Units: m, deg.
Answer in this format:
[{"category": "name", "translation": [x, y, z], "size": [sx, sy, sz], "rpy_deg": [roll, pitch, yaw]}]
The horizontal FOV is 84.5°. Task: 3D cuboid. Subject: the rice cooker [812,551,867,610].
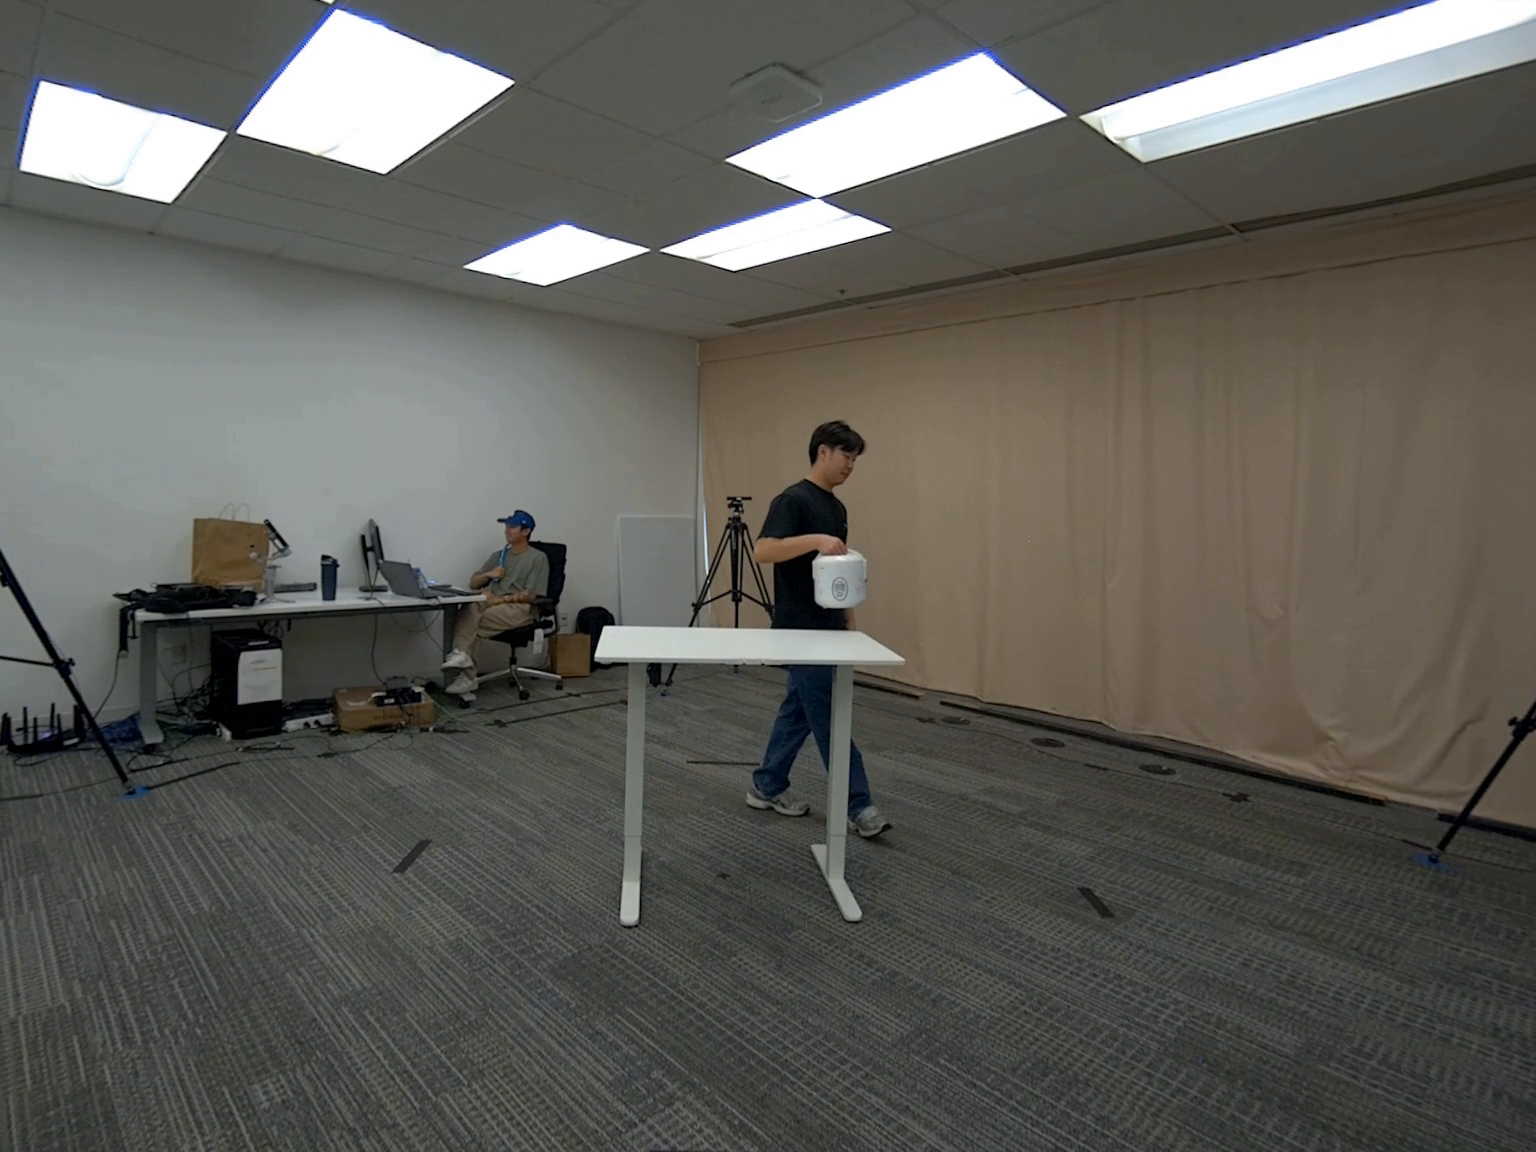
[{"category": "rice cooker", "translation": [0.282, 0.004, 3.363], "size": [0.222, 0.232, 0.216], "rpy_deg": [-2, 4, 7]}]
